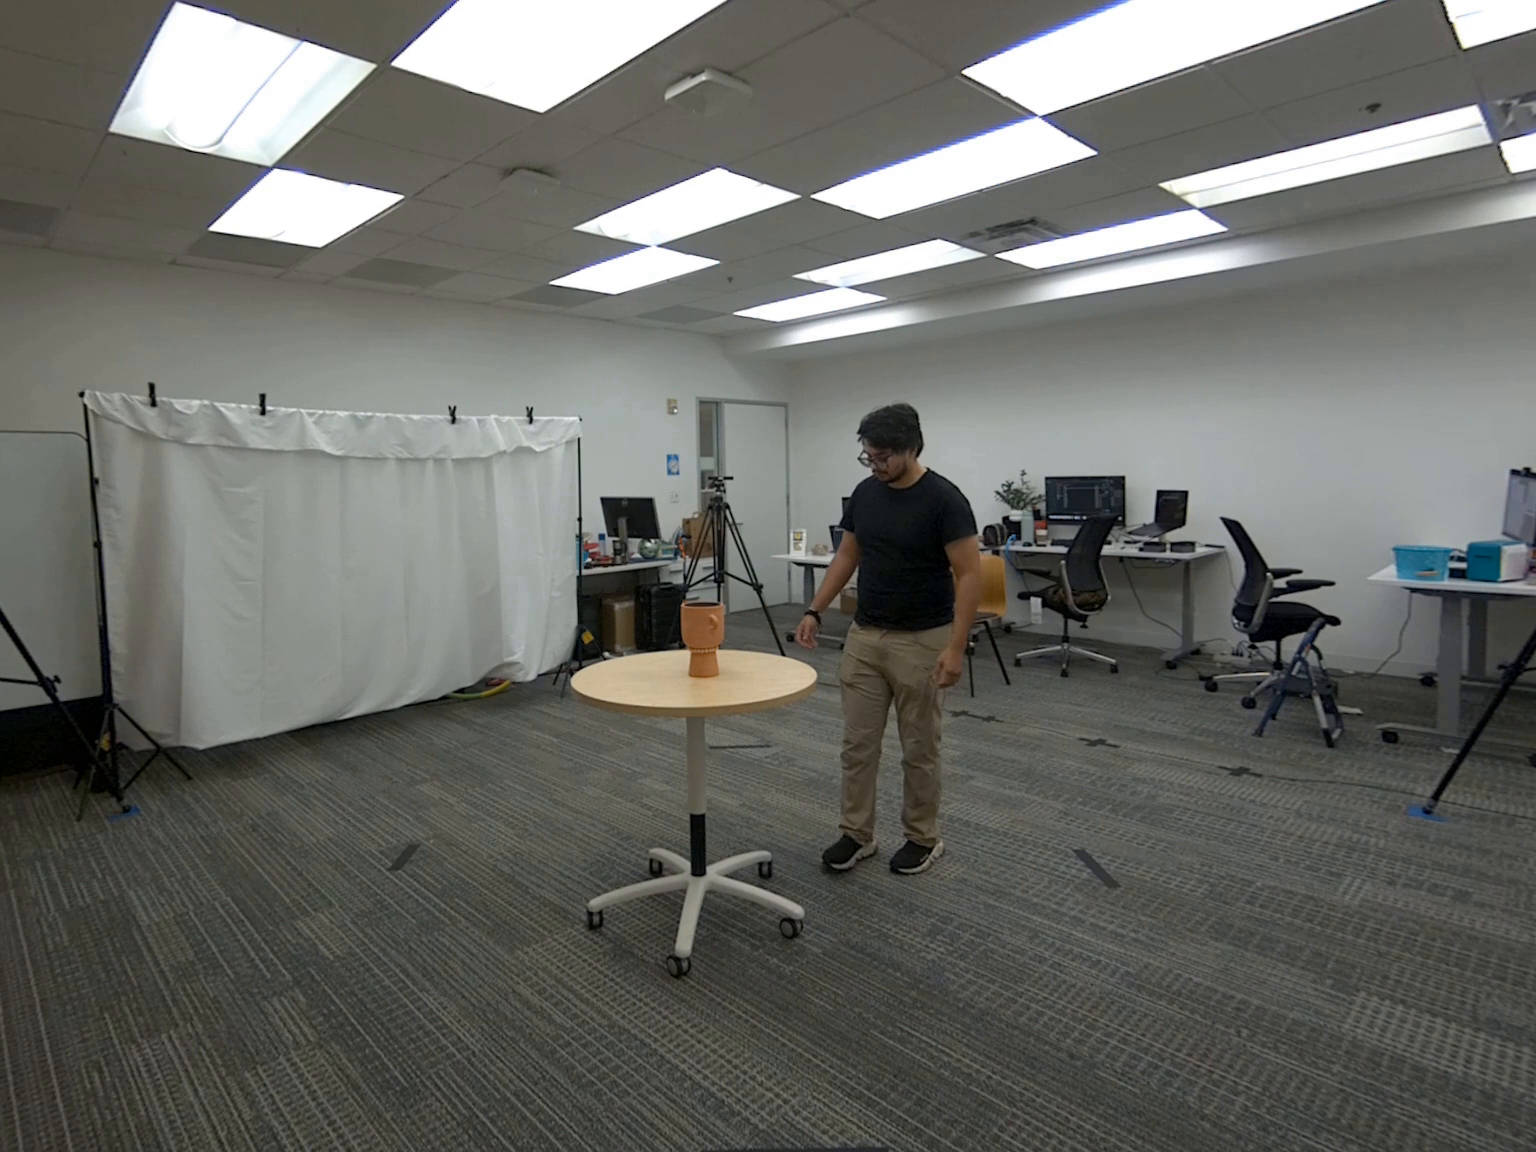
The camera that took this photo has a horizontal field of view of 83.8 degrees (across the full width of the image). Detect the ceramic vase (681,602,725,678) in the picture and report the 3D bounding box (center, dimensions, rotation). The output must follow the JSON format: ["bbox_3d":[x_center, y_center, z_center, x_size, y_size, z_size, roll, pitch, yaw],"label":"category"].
[{"bbox_3d":[-0.201,0.202,2.664,0.136,0.219,0.158,1,5,10],"label":"ceramic vase"}]
